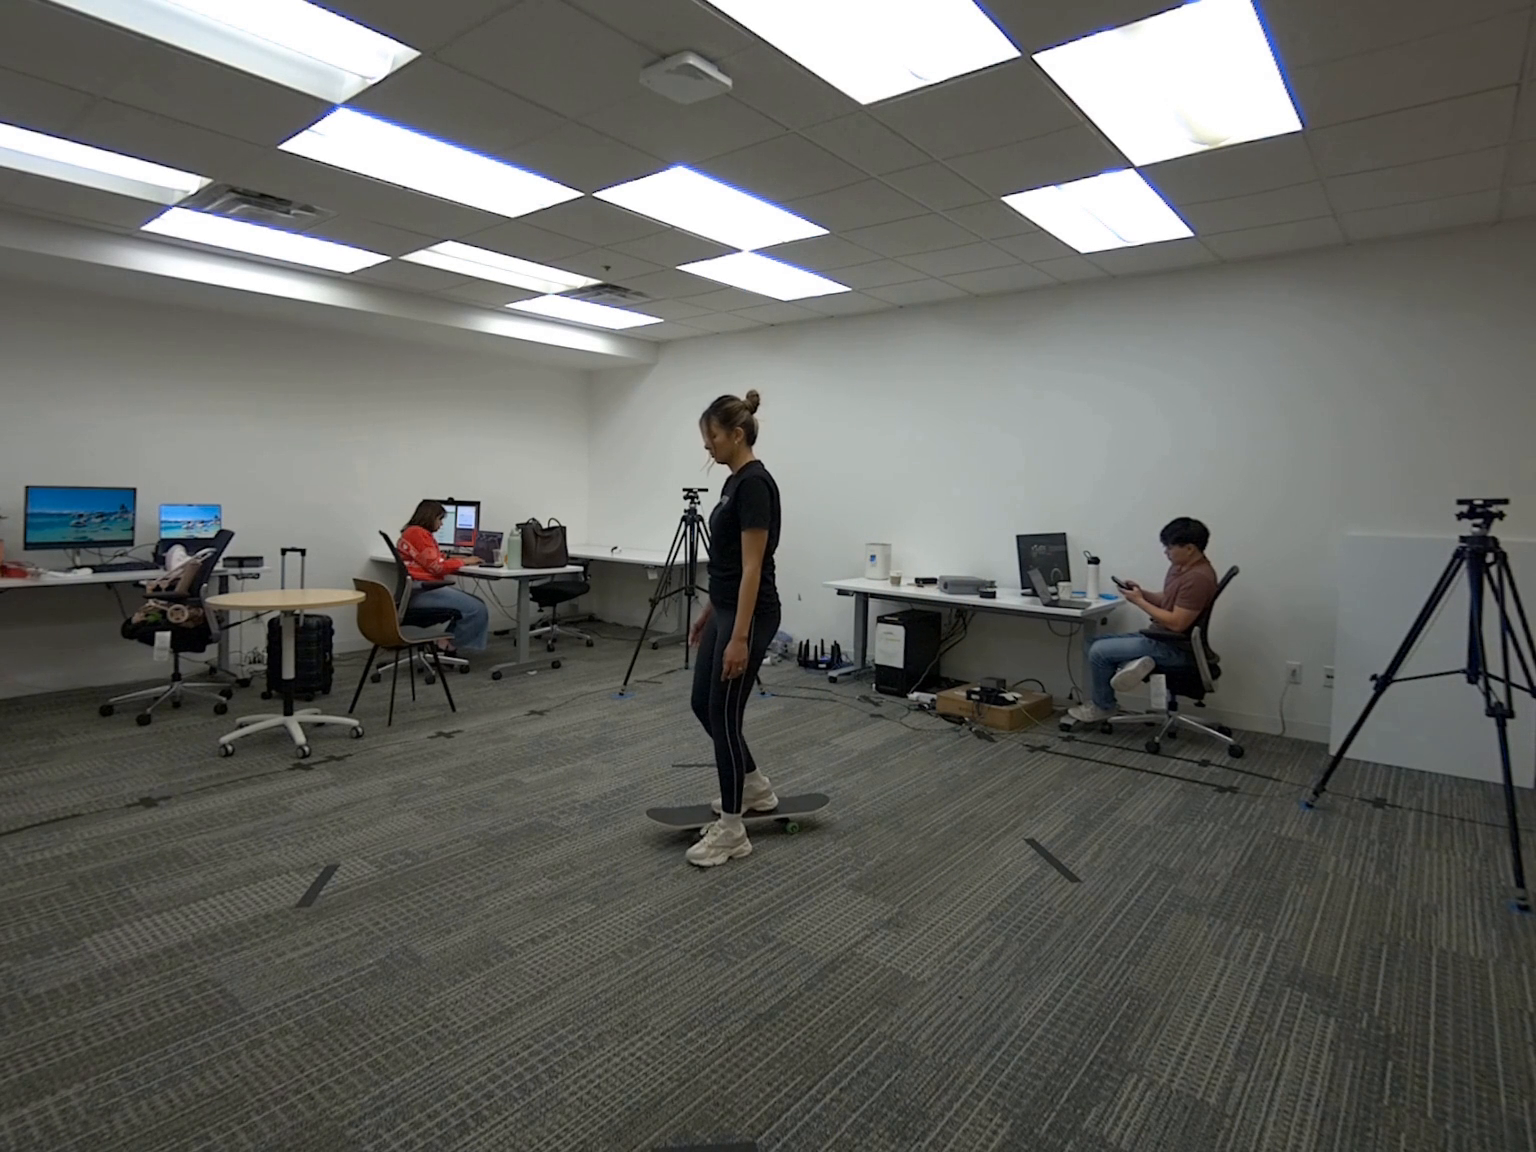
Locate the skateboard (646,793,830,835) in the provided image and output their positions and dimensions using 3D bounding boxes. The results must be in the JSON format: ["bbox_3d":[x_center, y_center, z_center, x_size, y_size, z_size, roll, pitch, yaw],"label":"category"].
[{"bbox_3d":[-0.138,0.978,3.457,0.771,0.110,0.198,-1,6,-18],"label":"skateboard"}]
